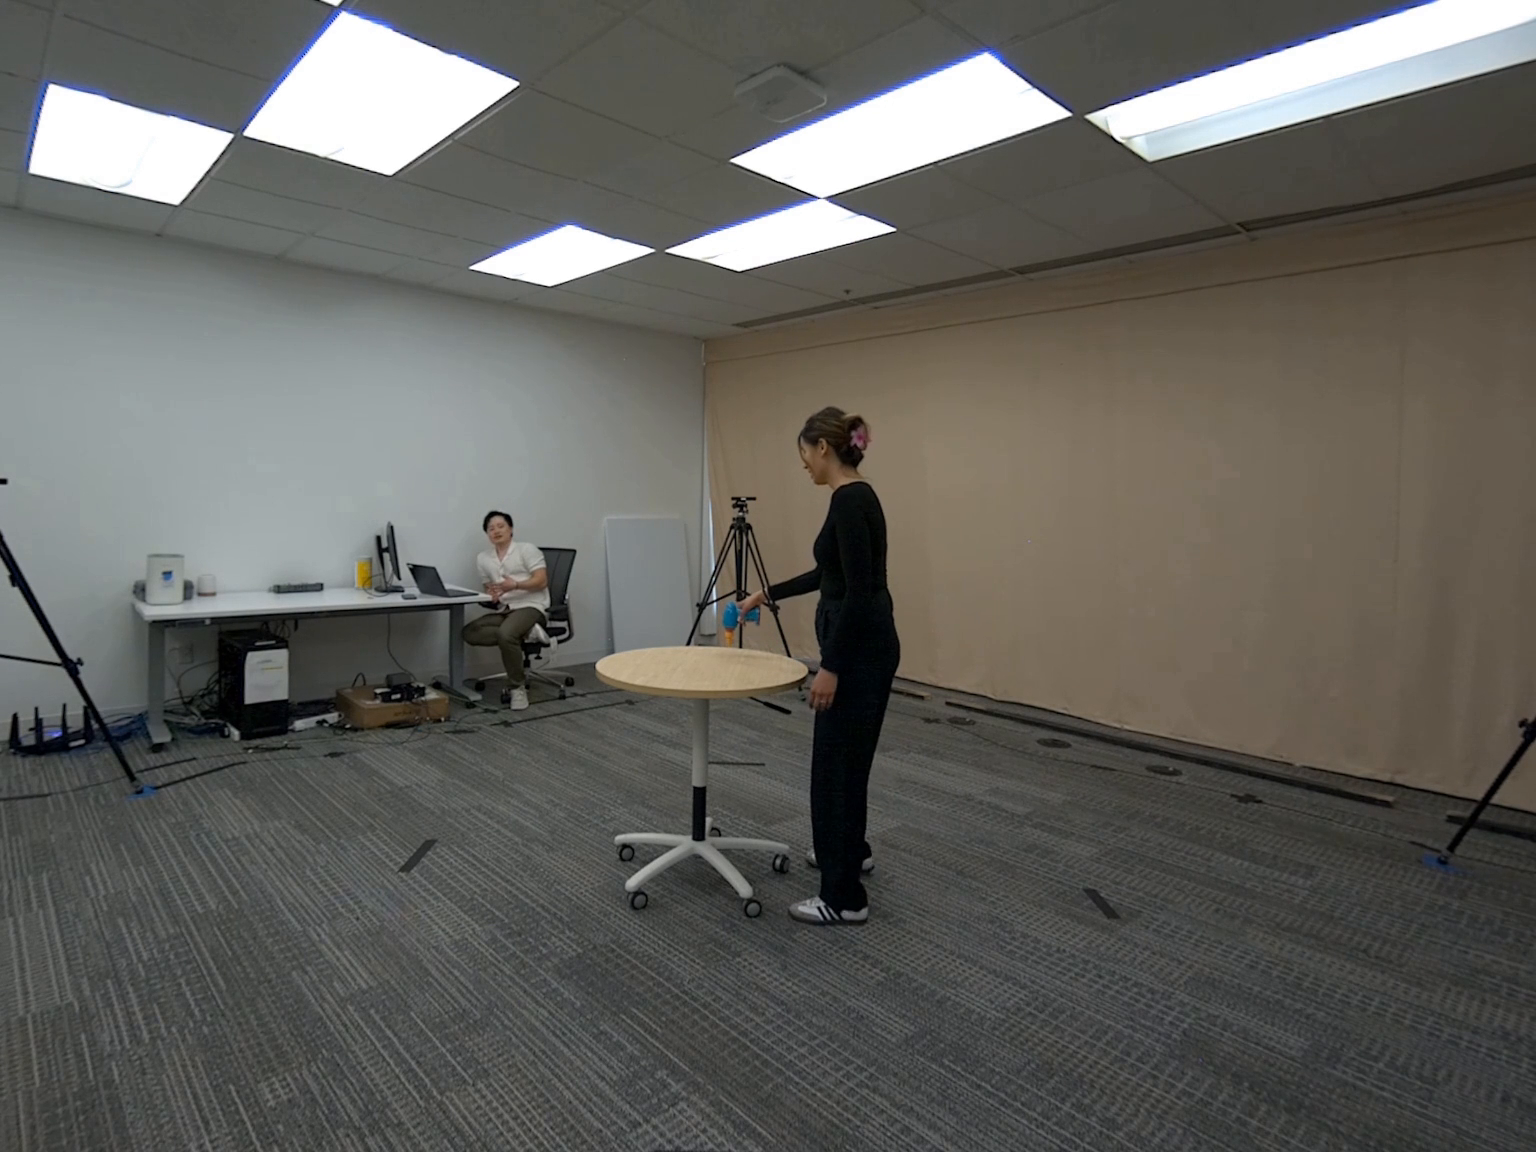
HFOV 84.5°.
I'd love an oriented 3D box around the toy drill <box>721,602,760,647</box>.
[{"bbox_3d":[-0.112,0.190,3.244,0.146,0.170,0.061,2,-5,1],"label":"toy drill"}]
